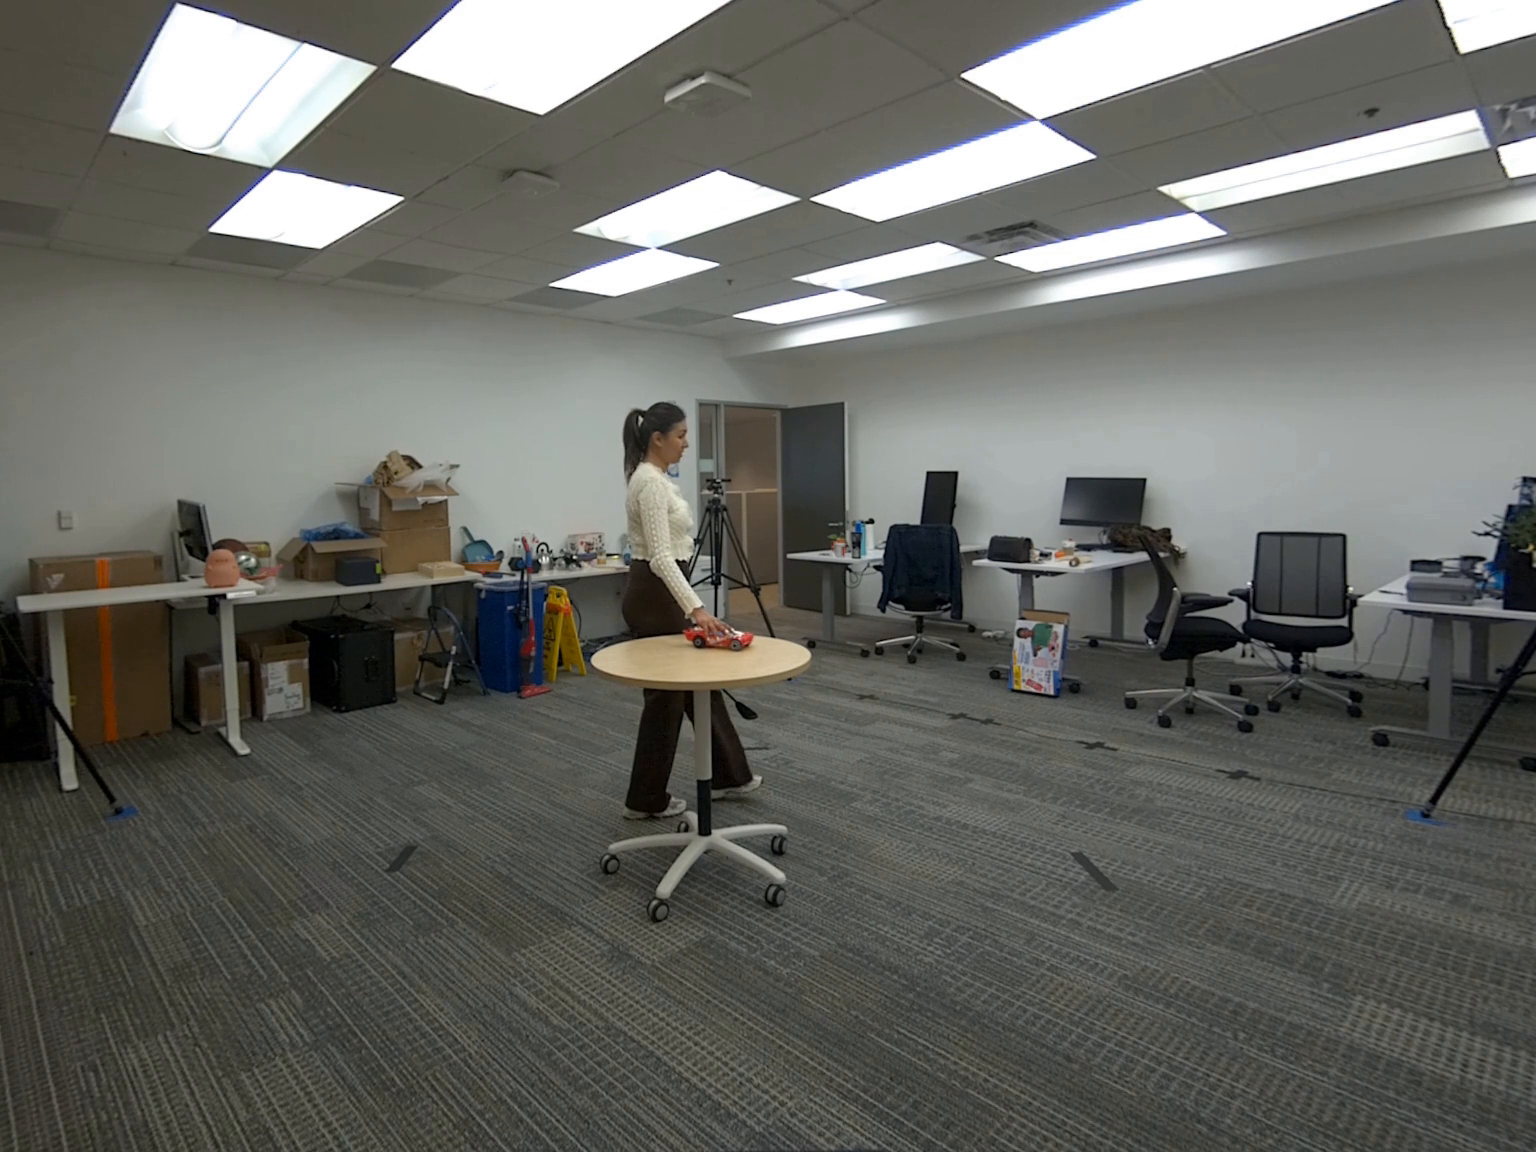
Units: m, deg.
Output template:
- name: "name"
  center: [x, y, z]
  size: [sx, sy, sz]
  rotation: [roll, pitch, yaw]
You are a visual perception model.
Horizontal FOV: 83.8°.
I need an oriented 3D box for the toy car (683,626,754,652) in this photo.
- name: "toy car"
  center: [-0.184, 0.227, 3.120]
  size: [0.260, 0.082, 0.128]
  rotation: [13, 11, 21]
